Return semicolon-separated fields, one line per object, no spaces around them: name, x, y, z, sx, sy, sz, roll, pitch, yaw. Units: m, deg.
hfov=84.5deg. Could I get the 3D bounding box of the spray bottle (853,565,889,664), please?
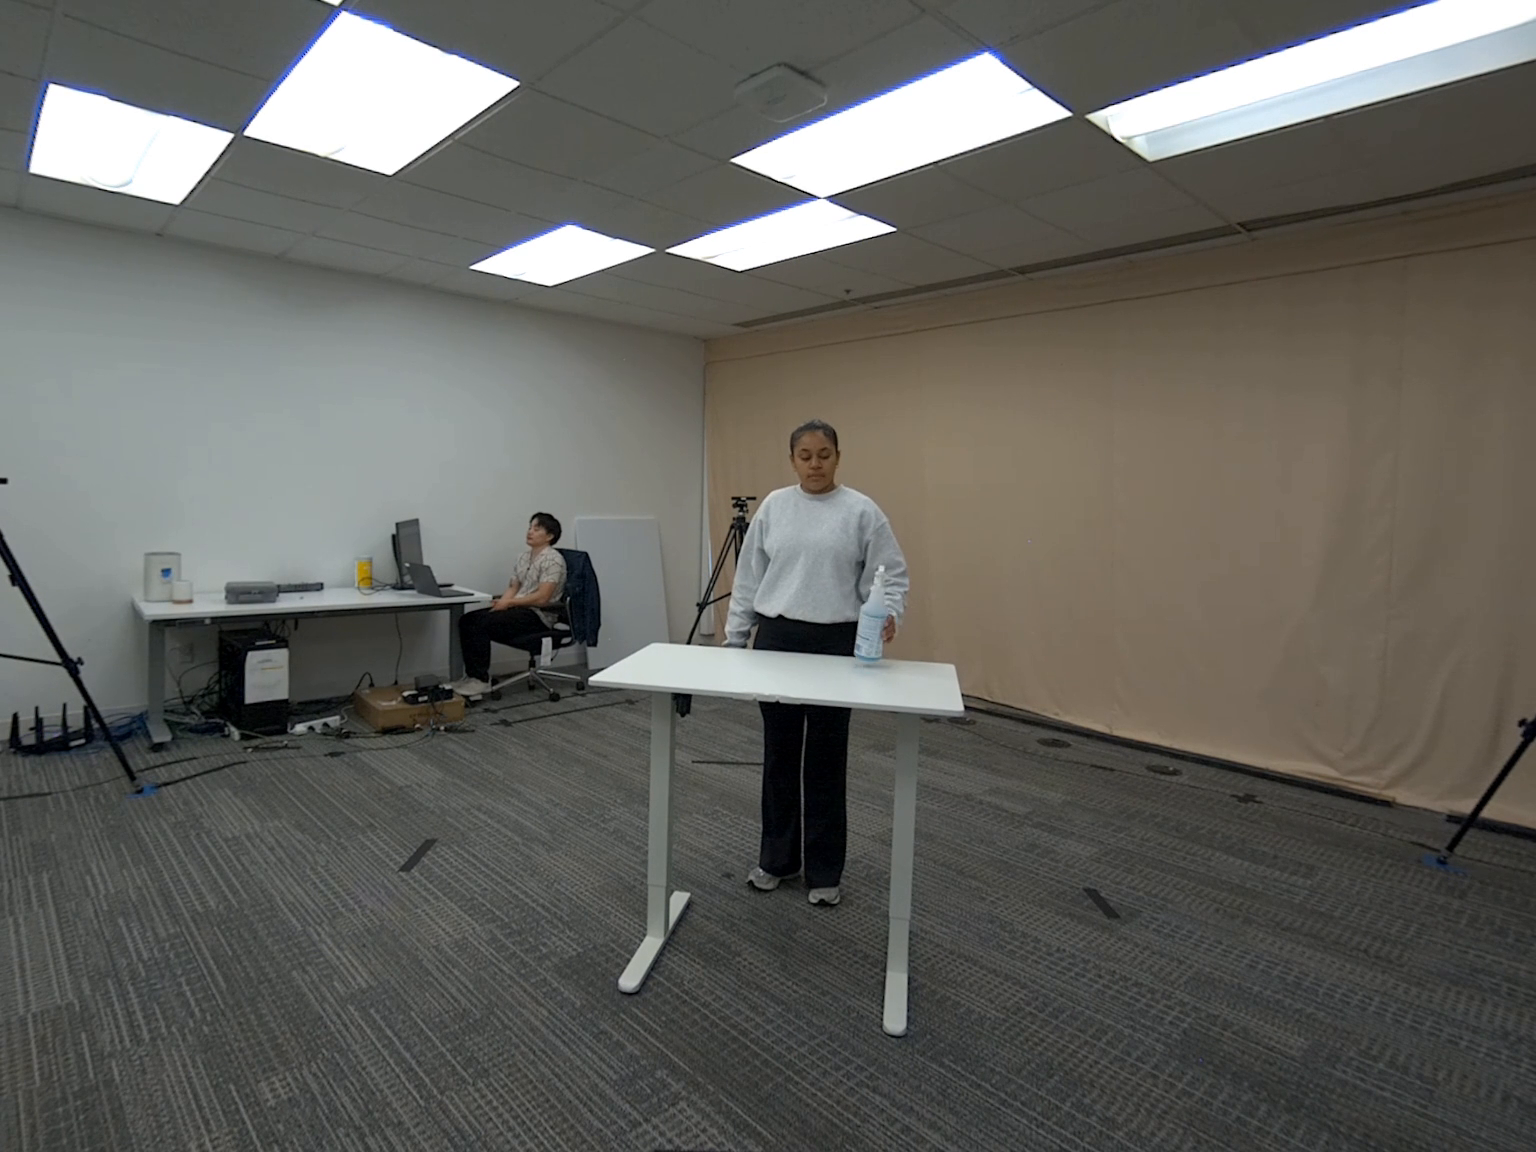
spray bottle;0.320;0.112;2.553;0.089;0.294;0.089;13;18;30
